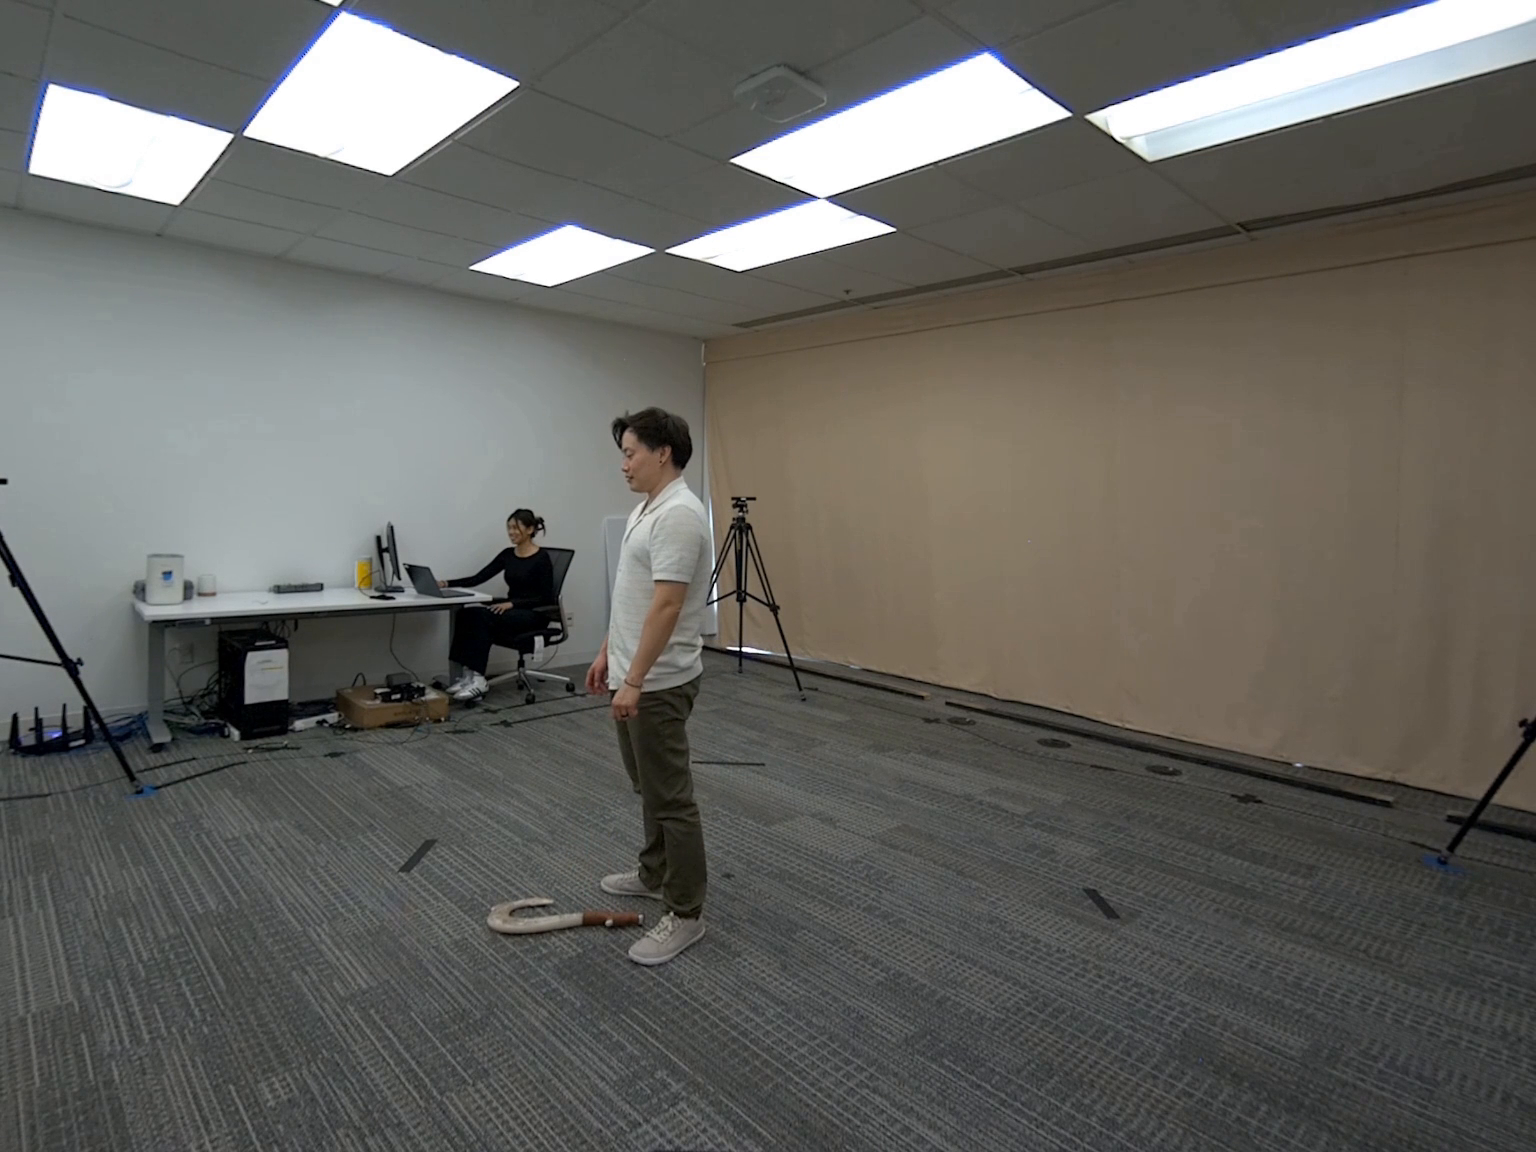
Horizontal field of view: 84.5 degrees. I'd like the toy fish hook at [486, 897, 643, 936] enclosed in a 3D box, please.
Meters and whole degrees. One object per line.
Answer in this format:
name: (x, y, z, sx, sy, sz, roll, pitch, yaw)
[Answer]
toy fish hook: (-0.659, 1.101, 2.761, 0.505, 0.048, 0.226, 1, 6, -4)
